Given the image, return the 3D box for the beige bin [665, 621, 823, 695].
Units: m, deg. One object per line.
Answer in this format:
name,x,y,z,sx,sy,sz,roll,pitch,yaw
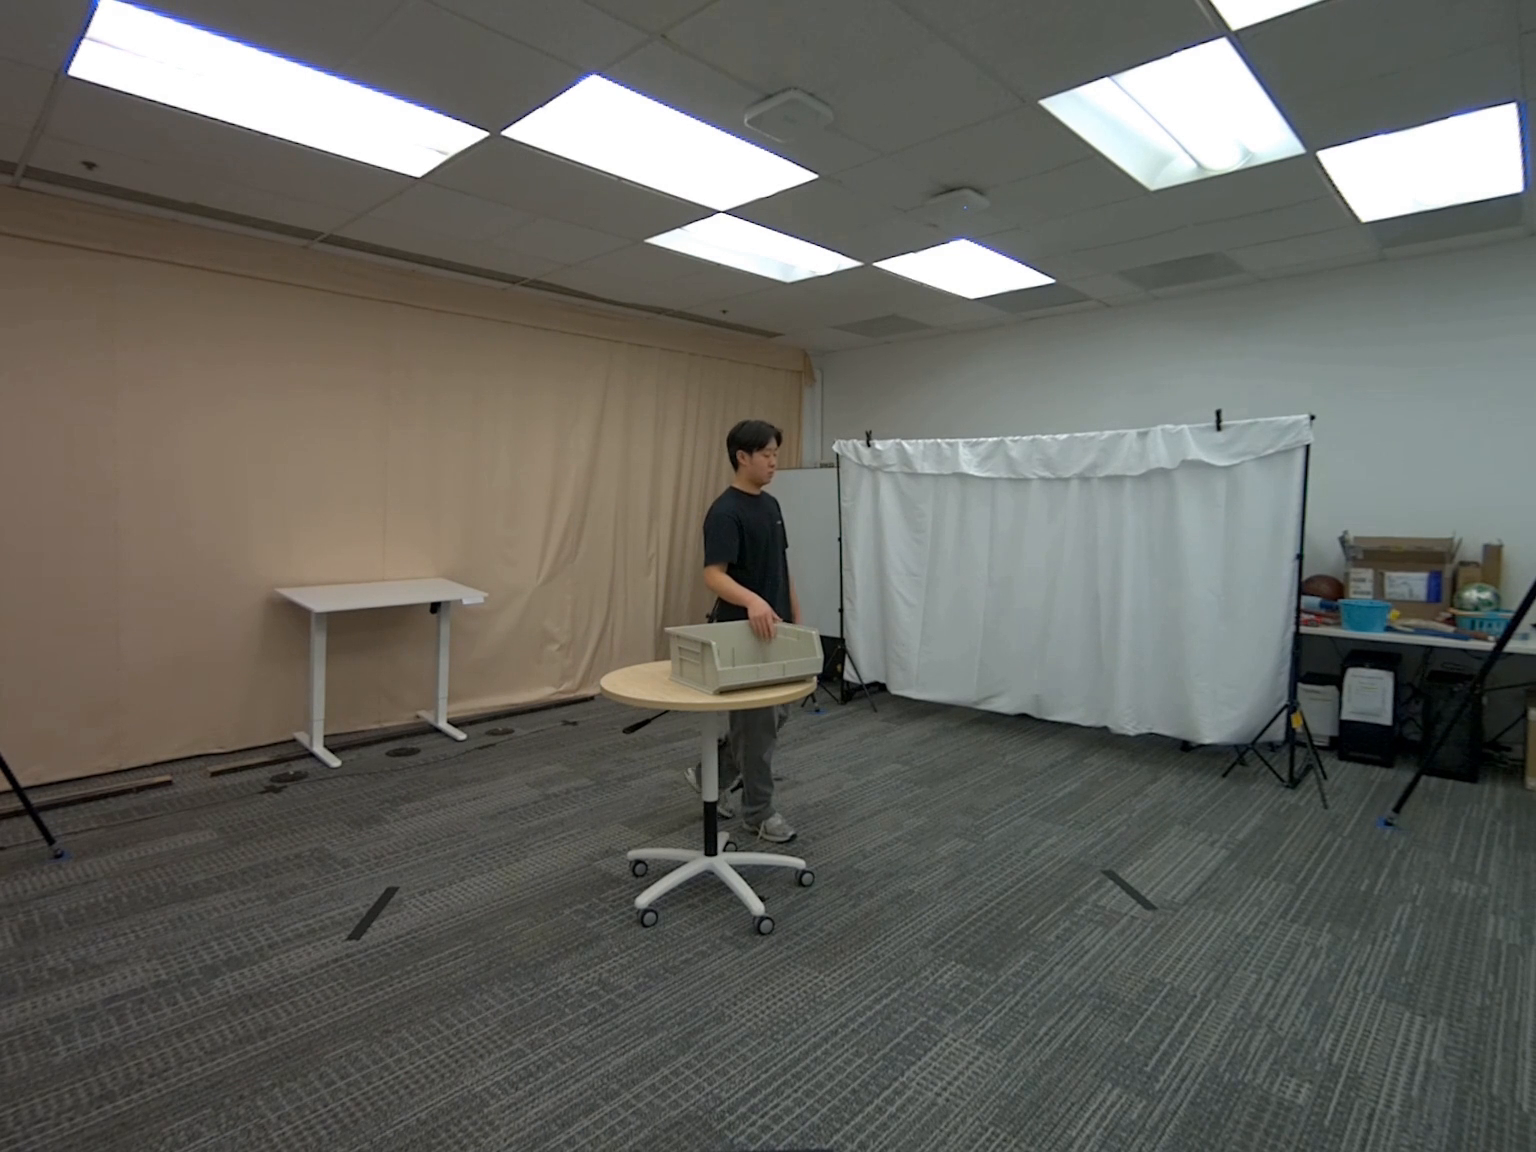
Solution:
beige bin,-0.085,0.279,2.928,0.411,0.189,0.388,-4,4,-31
